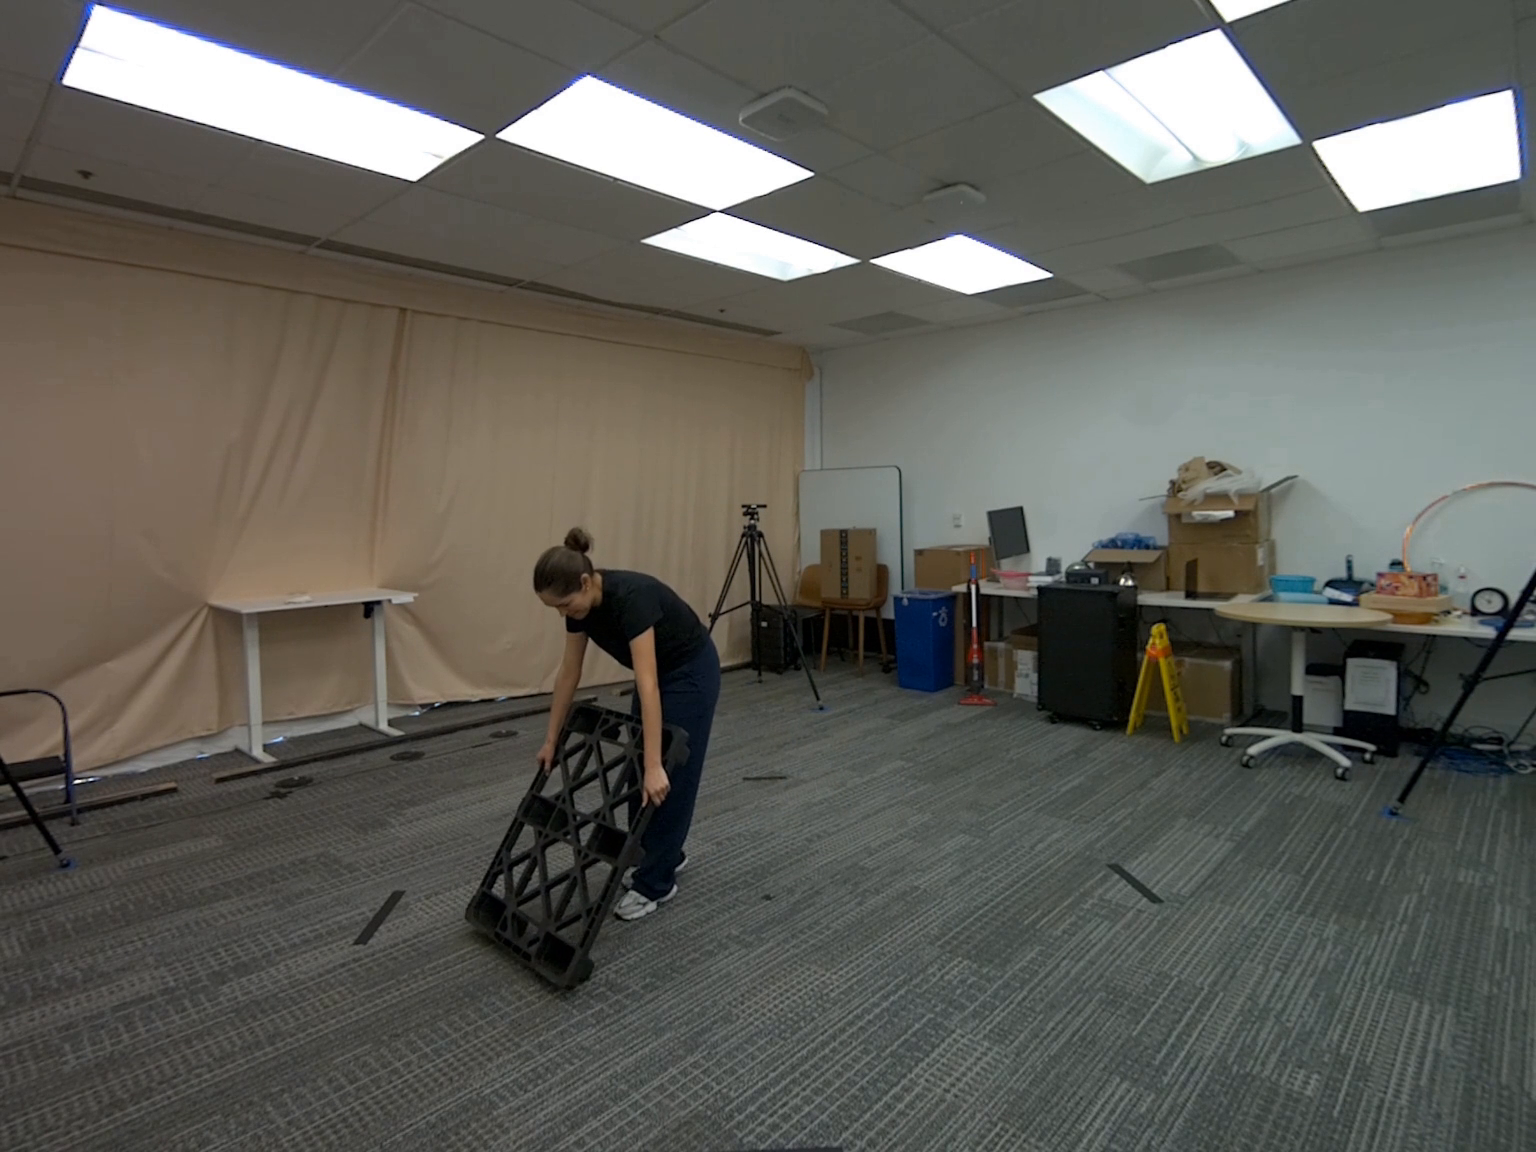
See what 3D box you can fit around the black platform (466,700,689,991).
[{"bbox_3d":[-0.590,0.829,2.740,0.625,0.807,0.138,4,-30,43],"label":"black platform"}]
